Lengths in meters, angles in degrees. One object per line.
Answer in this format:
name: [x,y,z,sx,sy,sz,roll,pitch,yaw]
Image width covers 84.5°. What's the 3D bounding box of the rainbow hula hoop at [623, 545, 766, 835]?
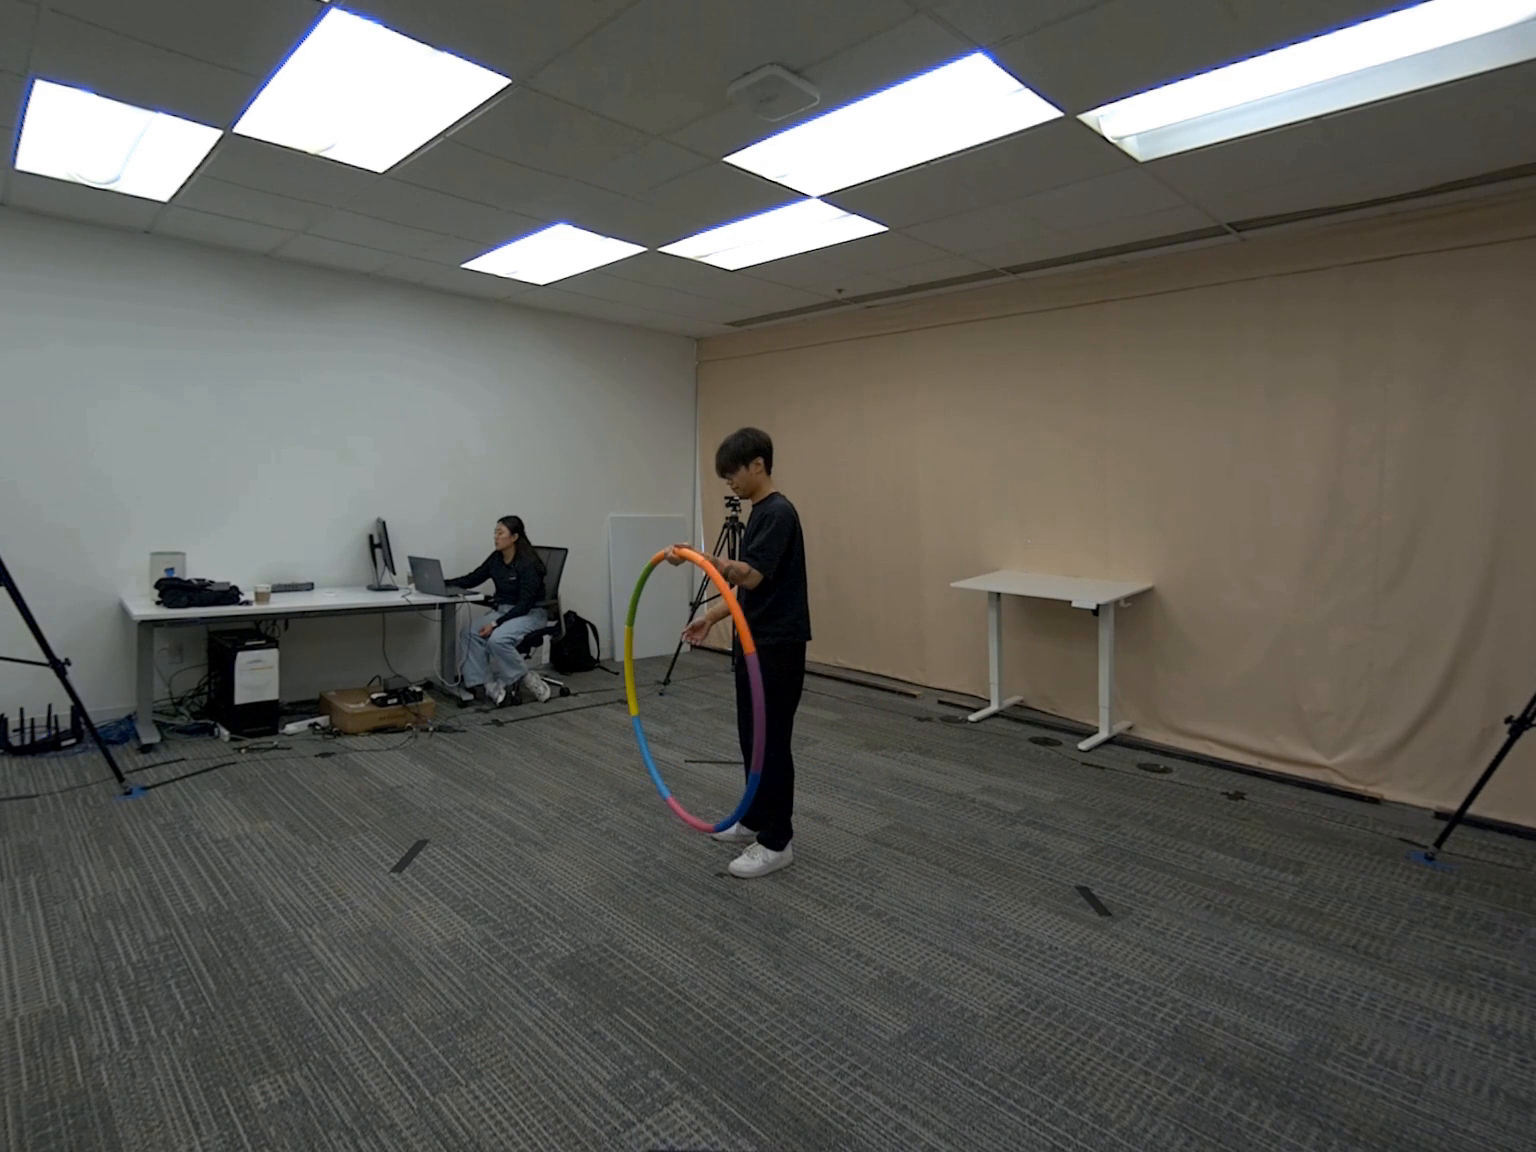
rainbow hula hoop: [-0.295,0.397,2.949,0.035,0.974,1.002,-5,7,-33]
